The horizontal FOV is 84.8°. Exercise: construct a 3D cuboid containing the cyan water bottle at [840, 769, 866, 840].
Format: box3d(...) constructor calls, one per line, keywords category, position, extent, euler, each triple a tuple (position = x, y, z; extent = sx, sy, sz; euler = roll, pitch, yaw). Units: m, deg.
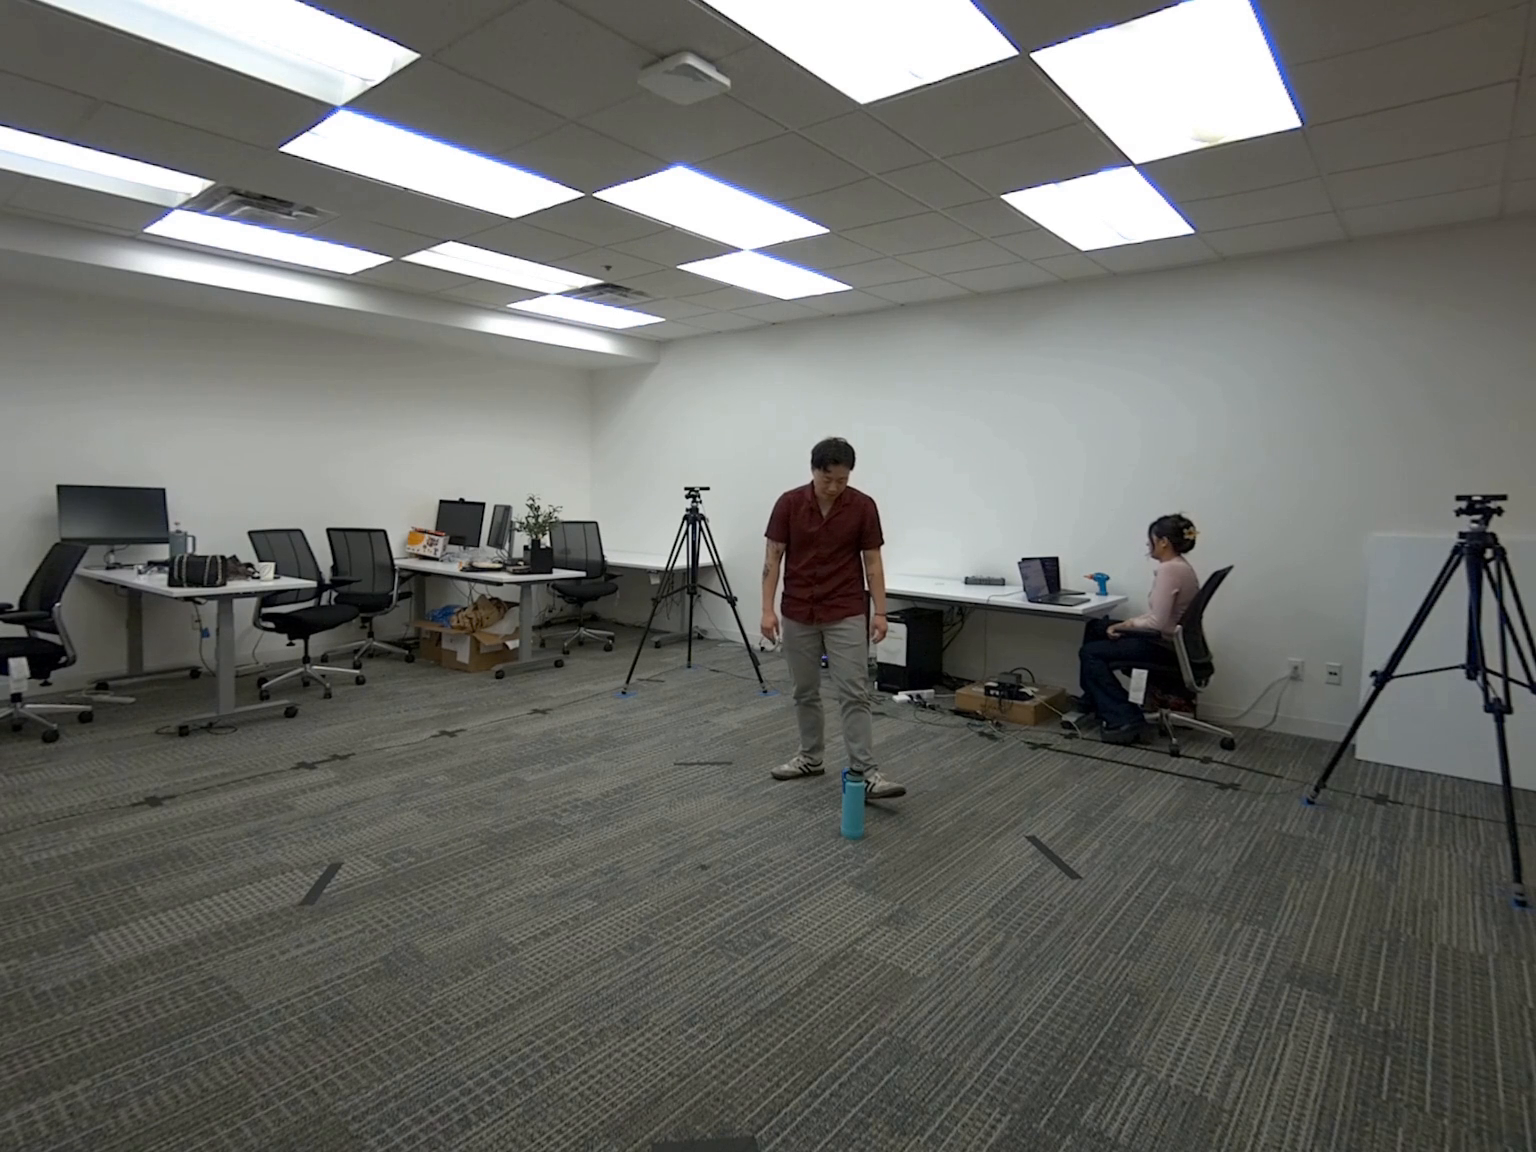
box3d(category="cyan water bottle", position=(0.334, 0.904, 3.440), extent=(0.092, 0.283, 0.093), euler=(-1, 3, -2))
